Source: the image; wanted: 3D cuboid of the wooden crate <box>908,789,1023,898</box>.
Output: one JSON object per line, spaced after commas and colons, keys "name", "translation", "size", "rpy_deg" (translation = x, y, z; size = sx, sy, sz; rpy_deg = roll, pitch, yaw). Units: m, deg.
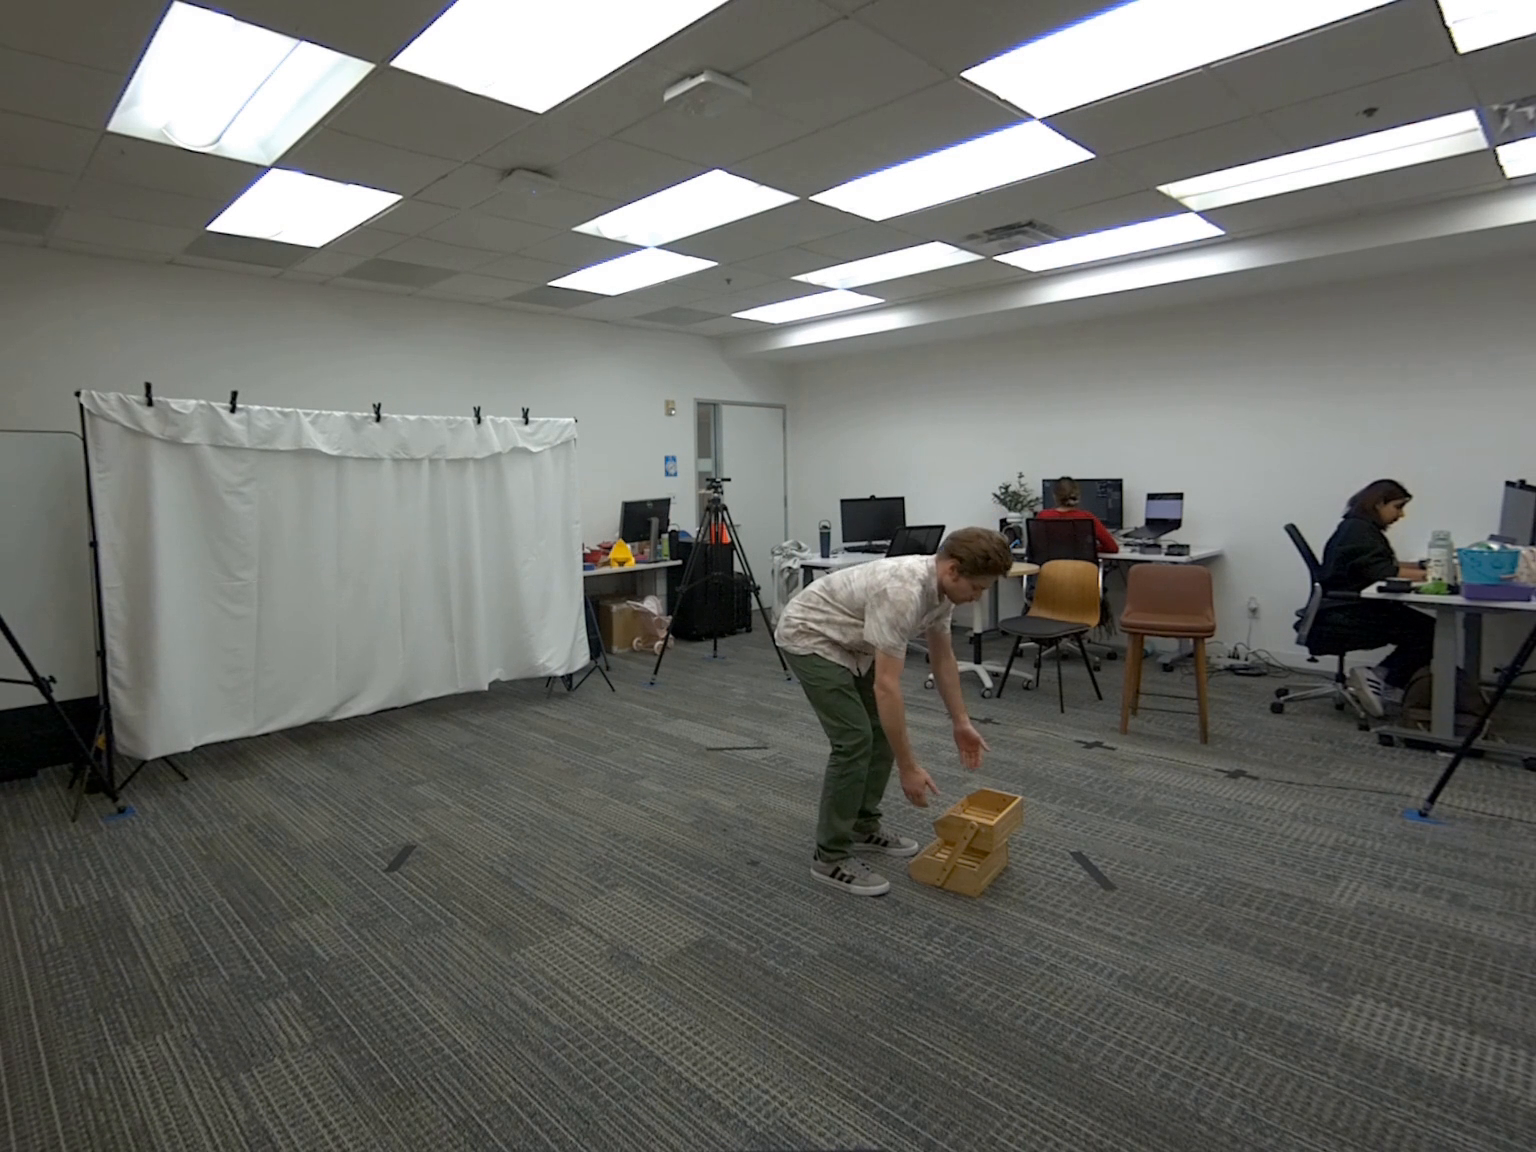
{"name": "wooden crate", "translation": [0.693, 0.907, 2.991], "size": [0.311, 0.272, 0.316], "rpy_deg": [4, 6, 37]}
